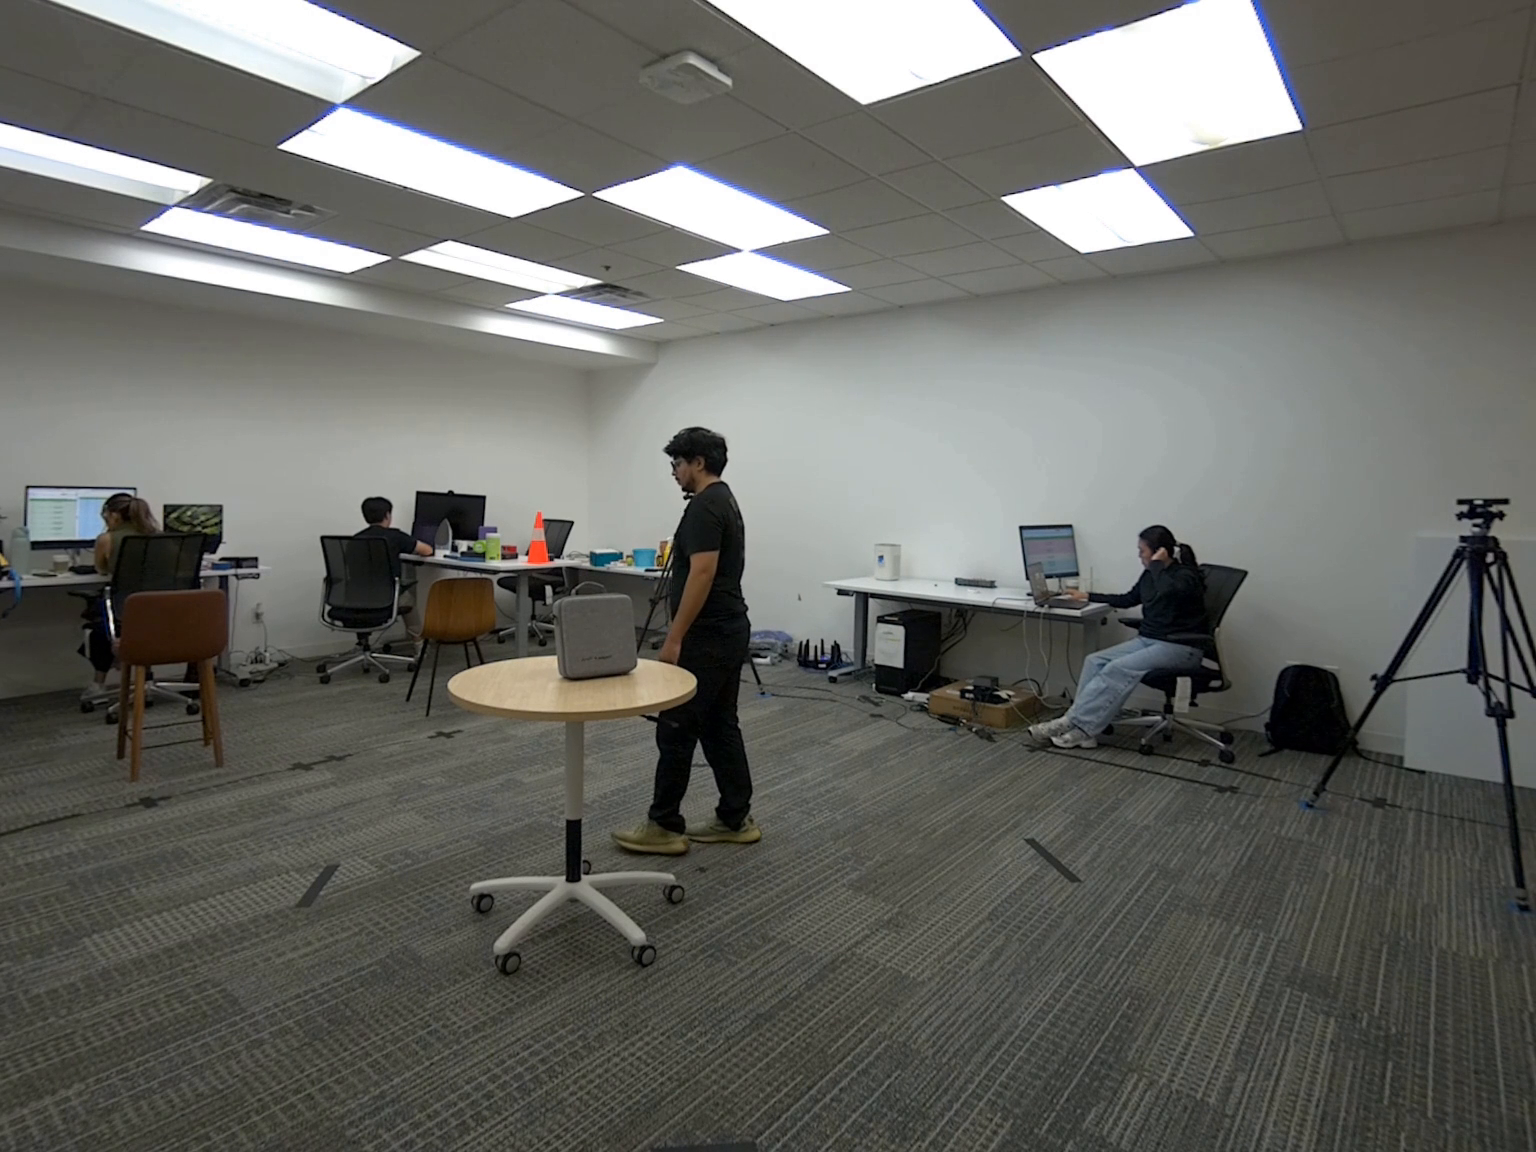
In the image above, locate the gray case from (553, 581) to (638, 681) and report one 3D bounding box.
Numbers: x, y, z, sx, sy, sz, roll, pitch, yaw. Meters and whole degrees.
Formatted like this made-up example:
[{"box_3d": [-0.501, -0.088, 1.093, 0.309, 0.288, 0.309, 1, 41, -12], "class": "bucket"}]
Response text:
[{"box_3d": [-0.567, 0.185, 2.741, 0.250, 0.262, 0.106, -3, -7, -33], "class": "gray case"}]
